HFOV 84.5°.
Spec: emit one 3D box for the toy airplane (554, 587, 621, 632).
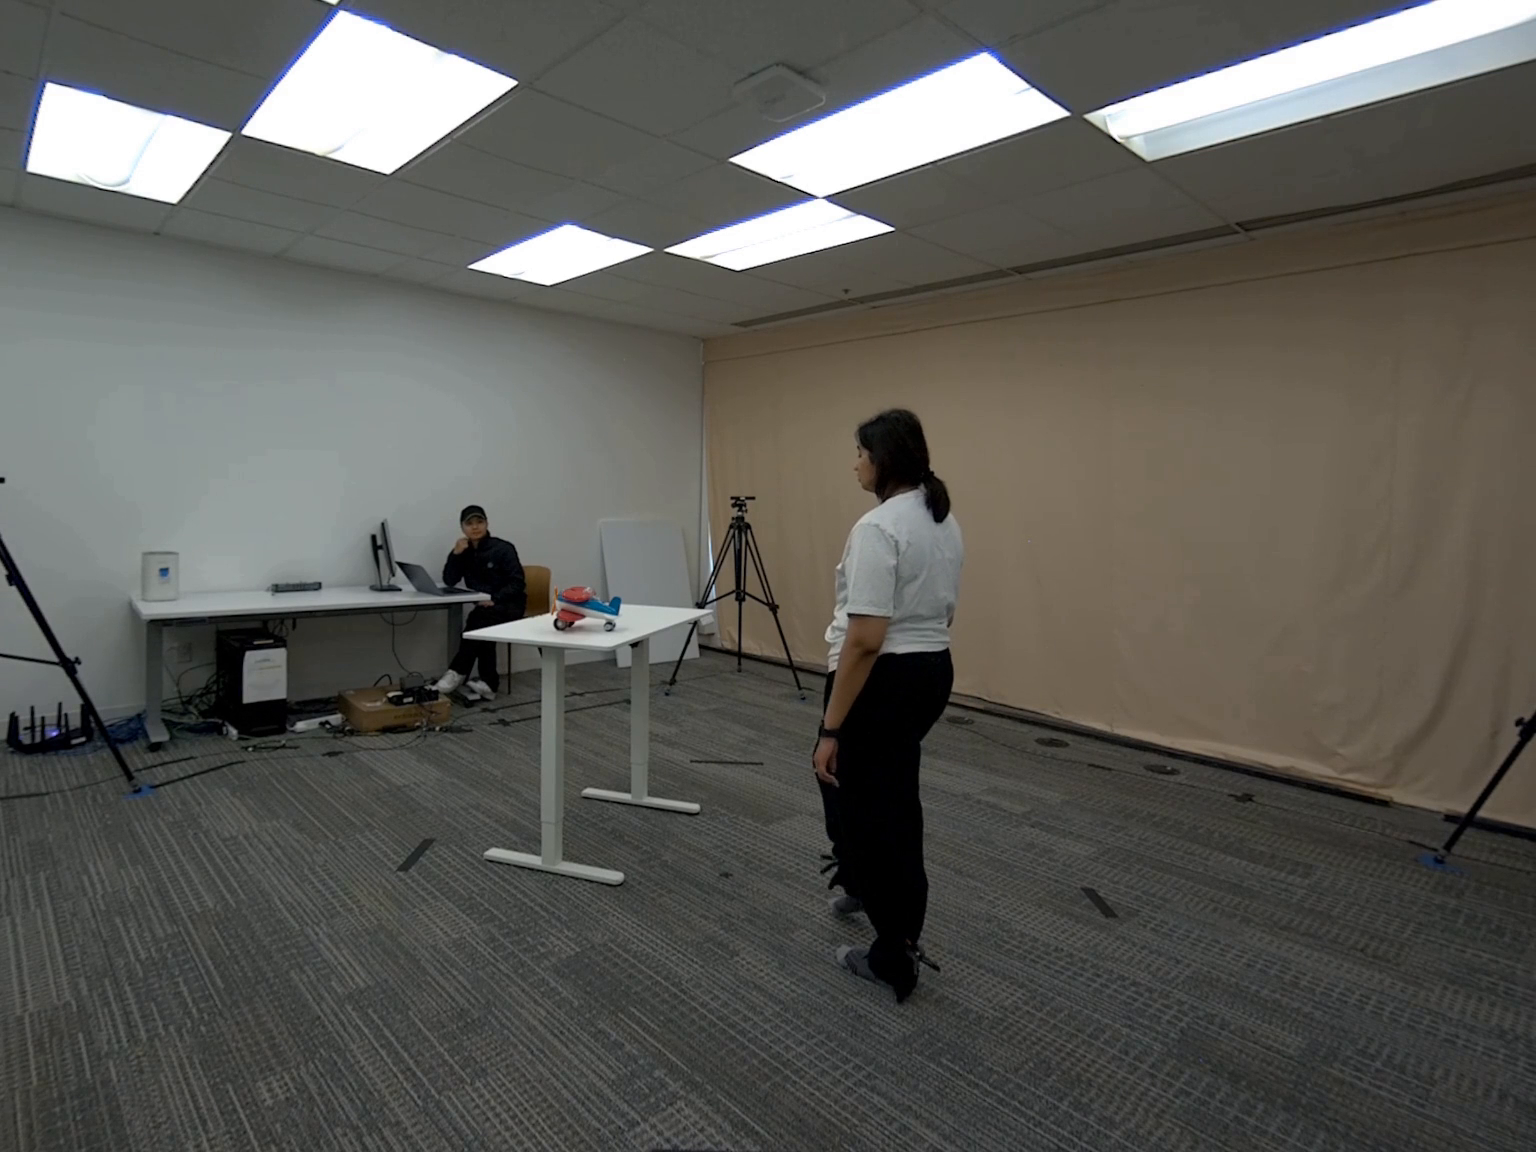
[{"bbox_3d":[-0.704,0.124,3.195,0.255,0.156,0.255,-2,4,-22],"label":"toy airplane"}]
